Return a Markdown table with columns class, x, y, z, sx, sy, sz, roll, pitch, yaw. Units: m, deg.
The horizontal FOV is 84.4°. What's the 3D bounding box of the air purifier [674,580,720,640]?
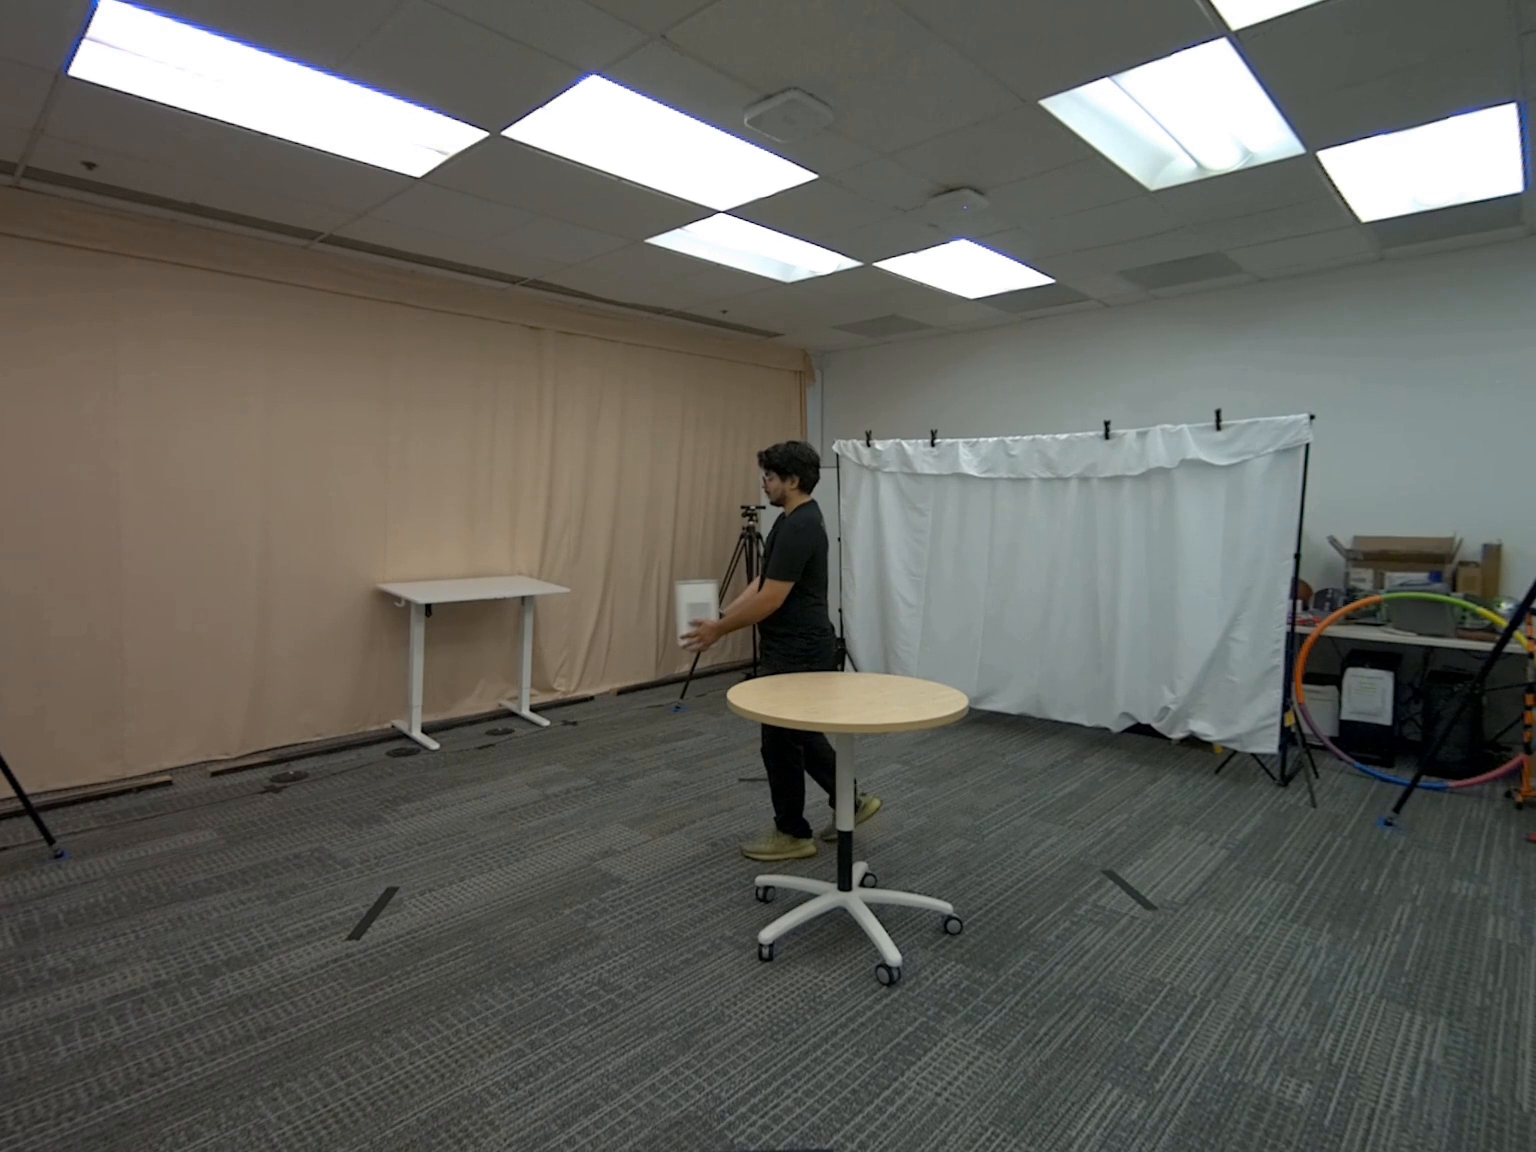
| class | x | y | z | sx | sy | sz | roll | pitch | yaw |
| --- | --- | --- | --- | --- | --- | --- | --- | --- | --- |
| air purifier | -0.271 | 0.154 | 3.356 | 0.170 | 0.265 | 0.173 | -2 | 2 | -9 |
